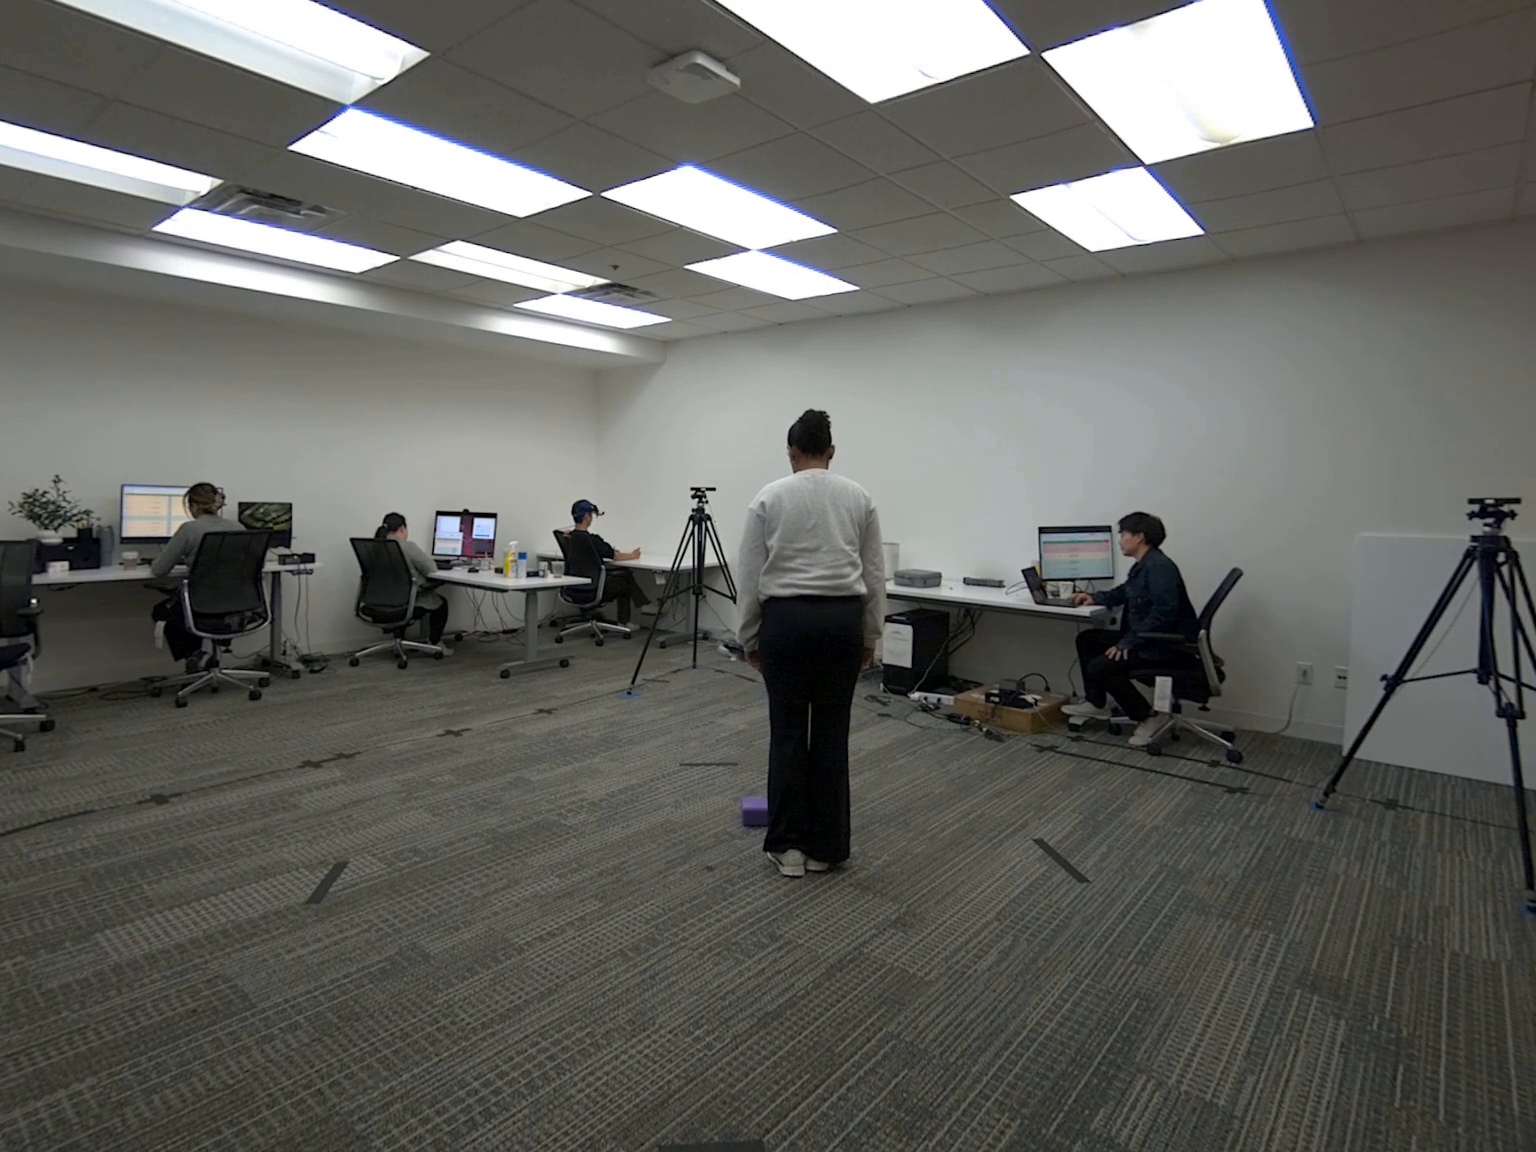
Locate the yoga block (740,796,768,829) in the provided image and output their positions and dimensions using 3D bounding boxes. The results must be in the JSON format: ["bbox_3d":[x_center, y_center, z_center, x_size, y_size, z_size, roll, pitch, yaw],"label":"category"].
[{"bbox_3d":[-0.004,0.985,3.575,0.229,0.076,0.150,0,6,-1],"label":"yoga block"}]
